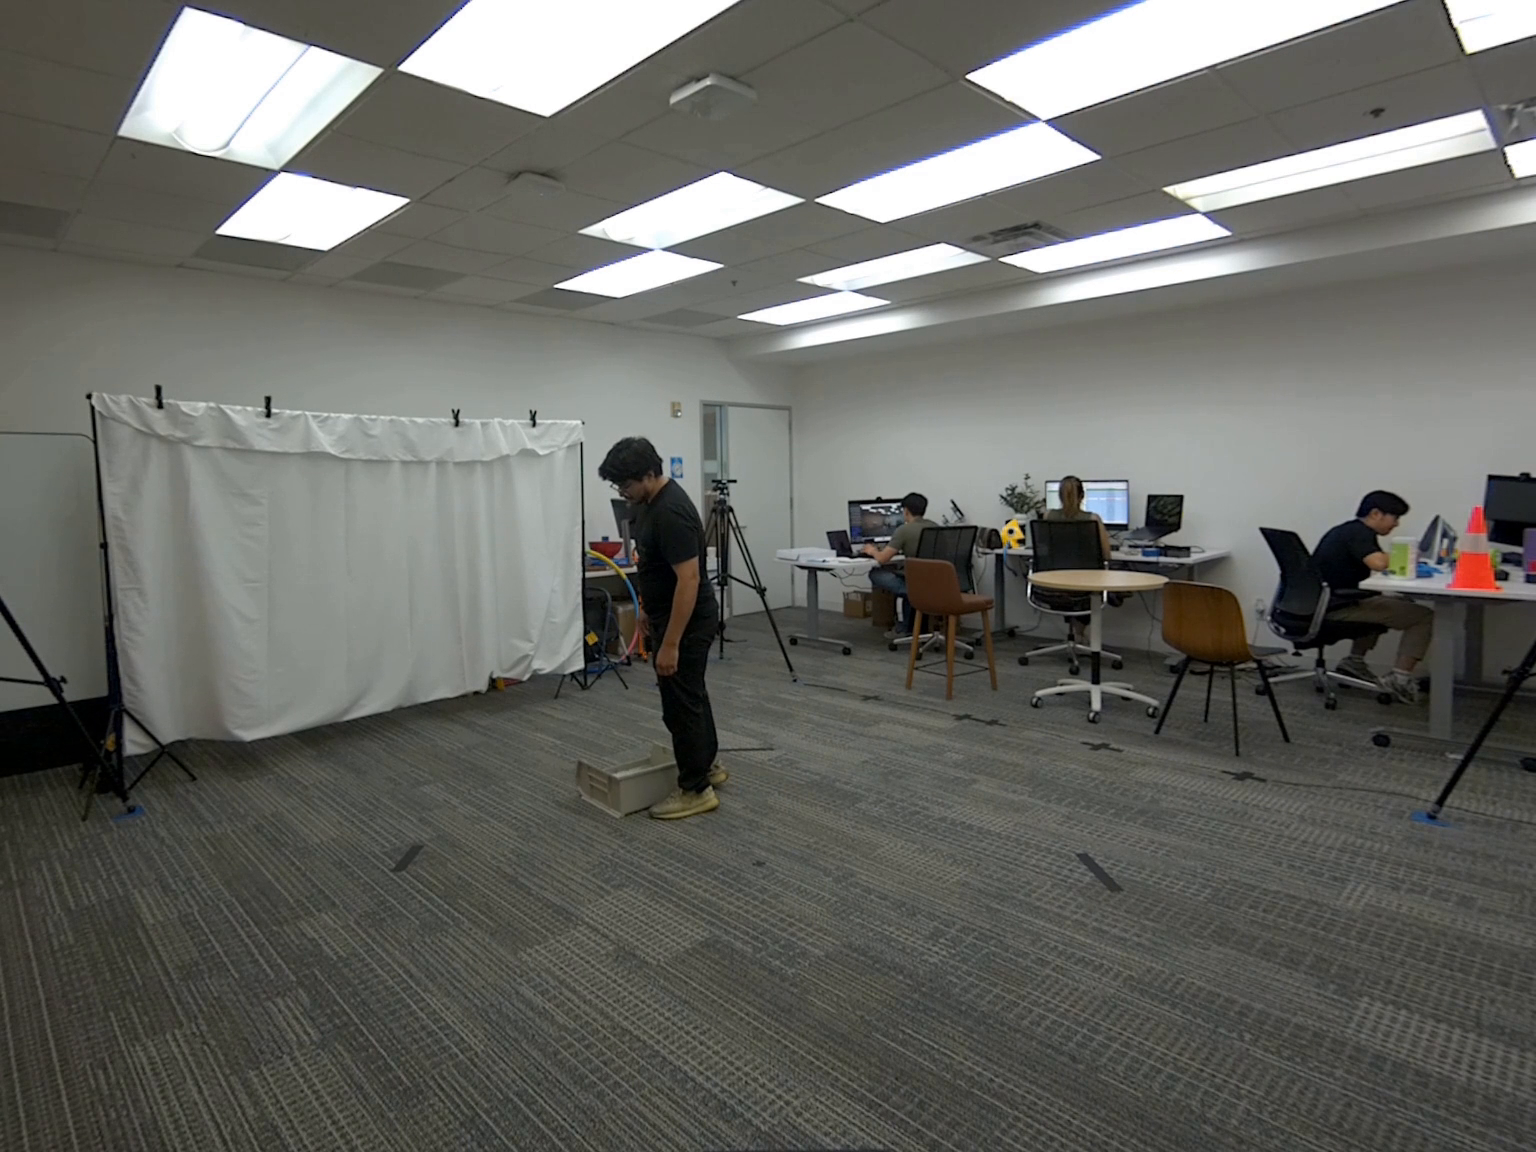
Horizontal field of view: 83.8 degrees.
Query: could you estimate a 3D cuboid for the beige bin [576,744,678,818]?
[{"bbox_3d":[-0.594,0.892,3.818,0.411,0.188,0.389,-5,9,-41],"label":"beige bin"}]
